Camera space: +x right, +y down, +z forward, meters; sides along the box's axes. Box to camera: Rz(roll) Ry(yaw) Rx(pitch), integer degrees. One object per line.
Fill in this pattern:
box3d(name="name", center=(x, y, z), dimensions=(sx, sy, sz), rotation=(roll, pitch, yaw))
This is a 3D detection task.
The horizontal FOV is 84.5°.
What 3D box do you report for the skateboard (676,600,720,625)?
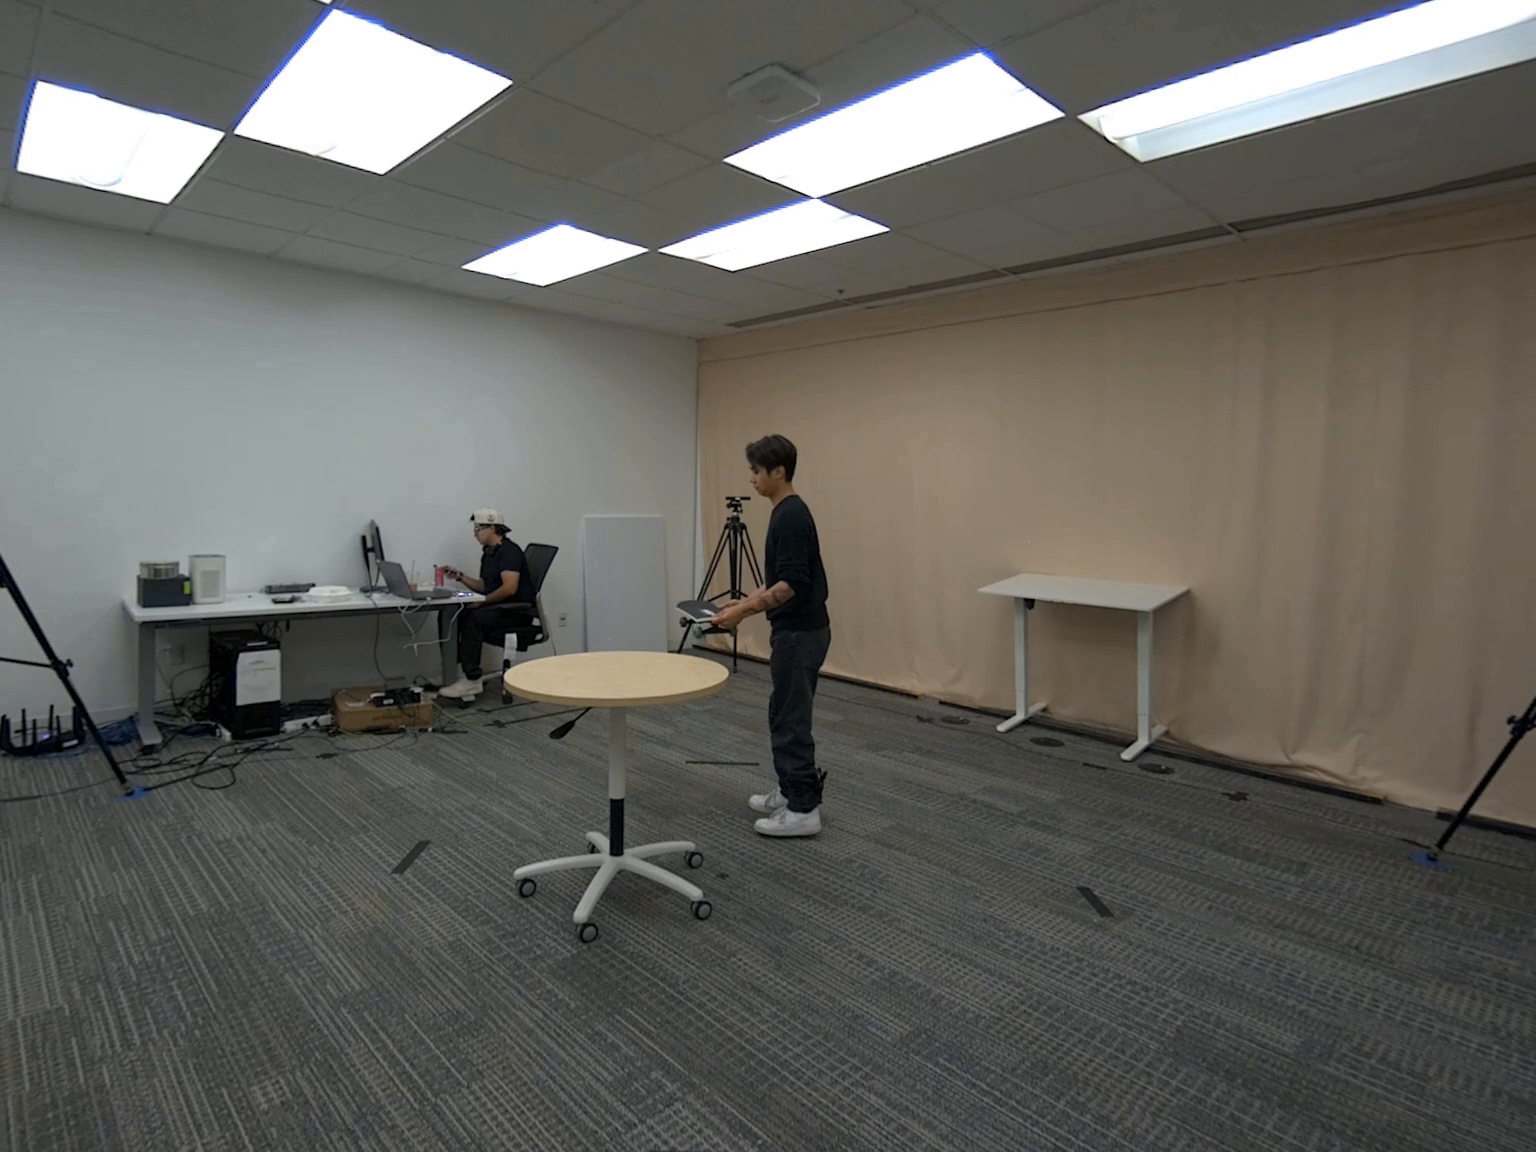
box3d(name="skateboard", center=(-0.271, 0.200, 3.775), dimensions=(0.191, 0.110, 0.795), rotation=(-2, 4, -14))
